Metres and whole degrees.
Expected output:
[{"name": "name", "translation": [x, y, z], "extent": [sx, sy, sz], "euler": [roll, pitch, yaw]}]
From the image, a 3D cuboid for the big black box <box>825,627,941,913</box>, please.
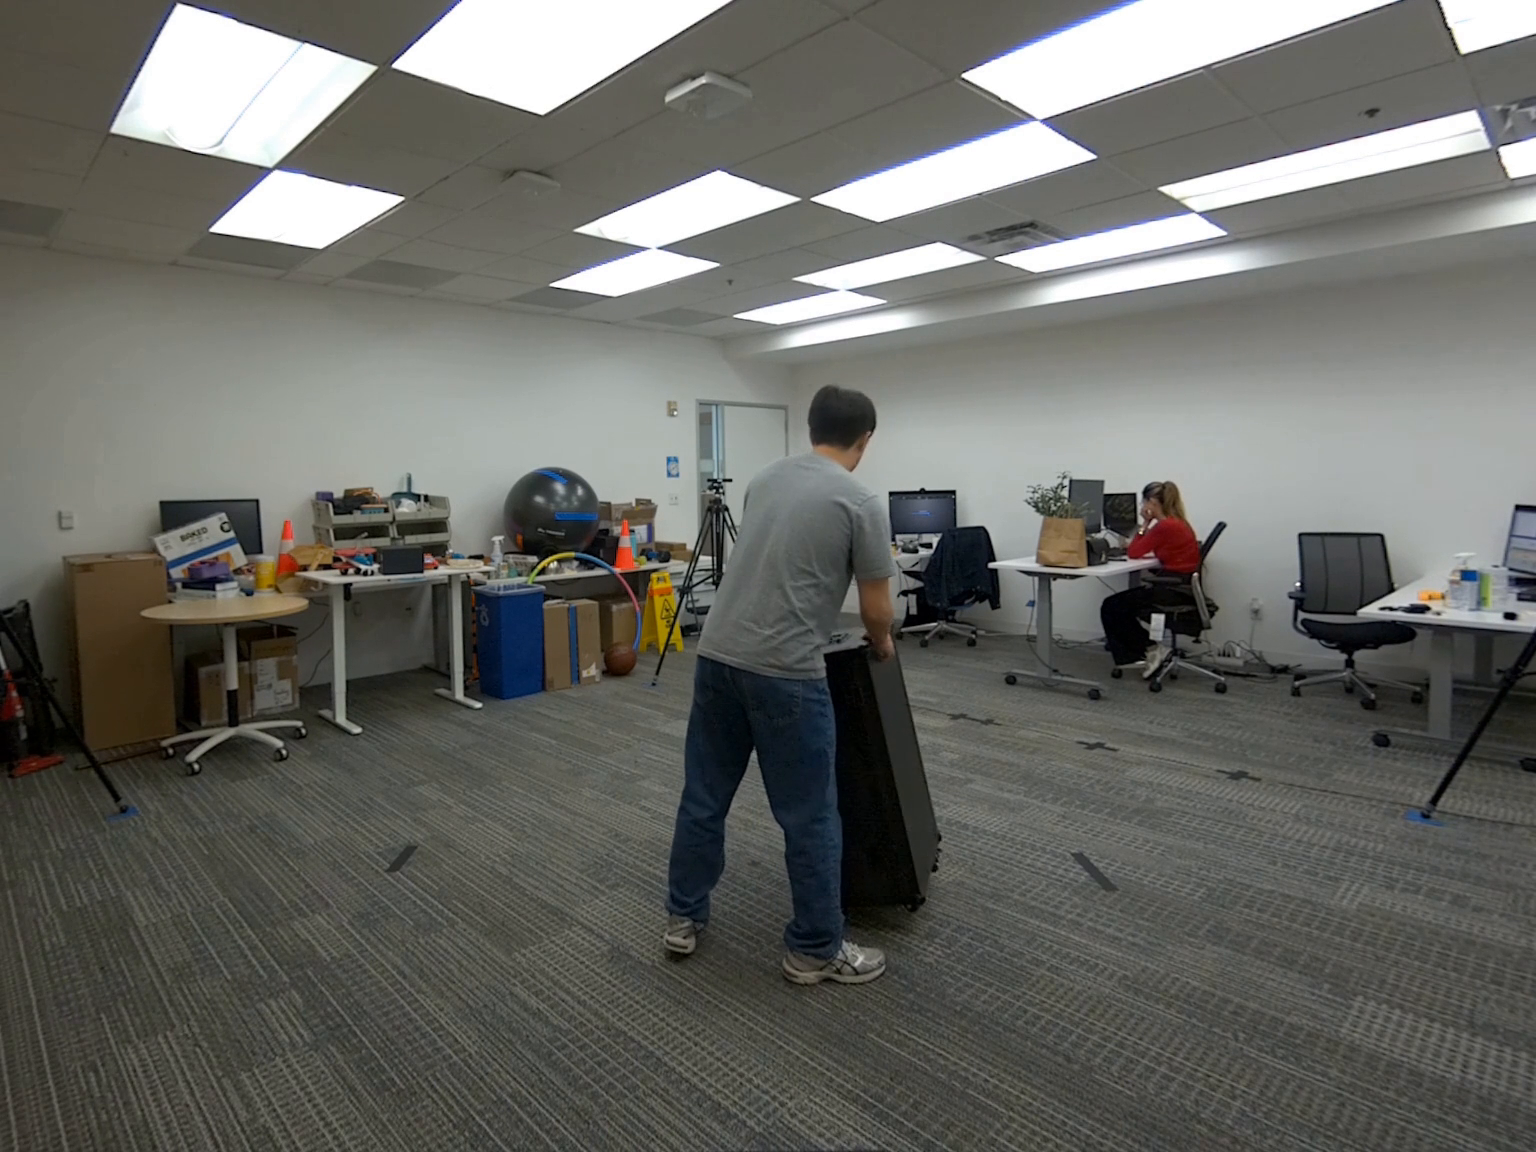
[{"name": "big black box", "translation": [0.293, 0.637, 2.825], "extent": [0.402, 0.862, 0.514], "euler": [-12, 0, 19]}]
